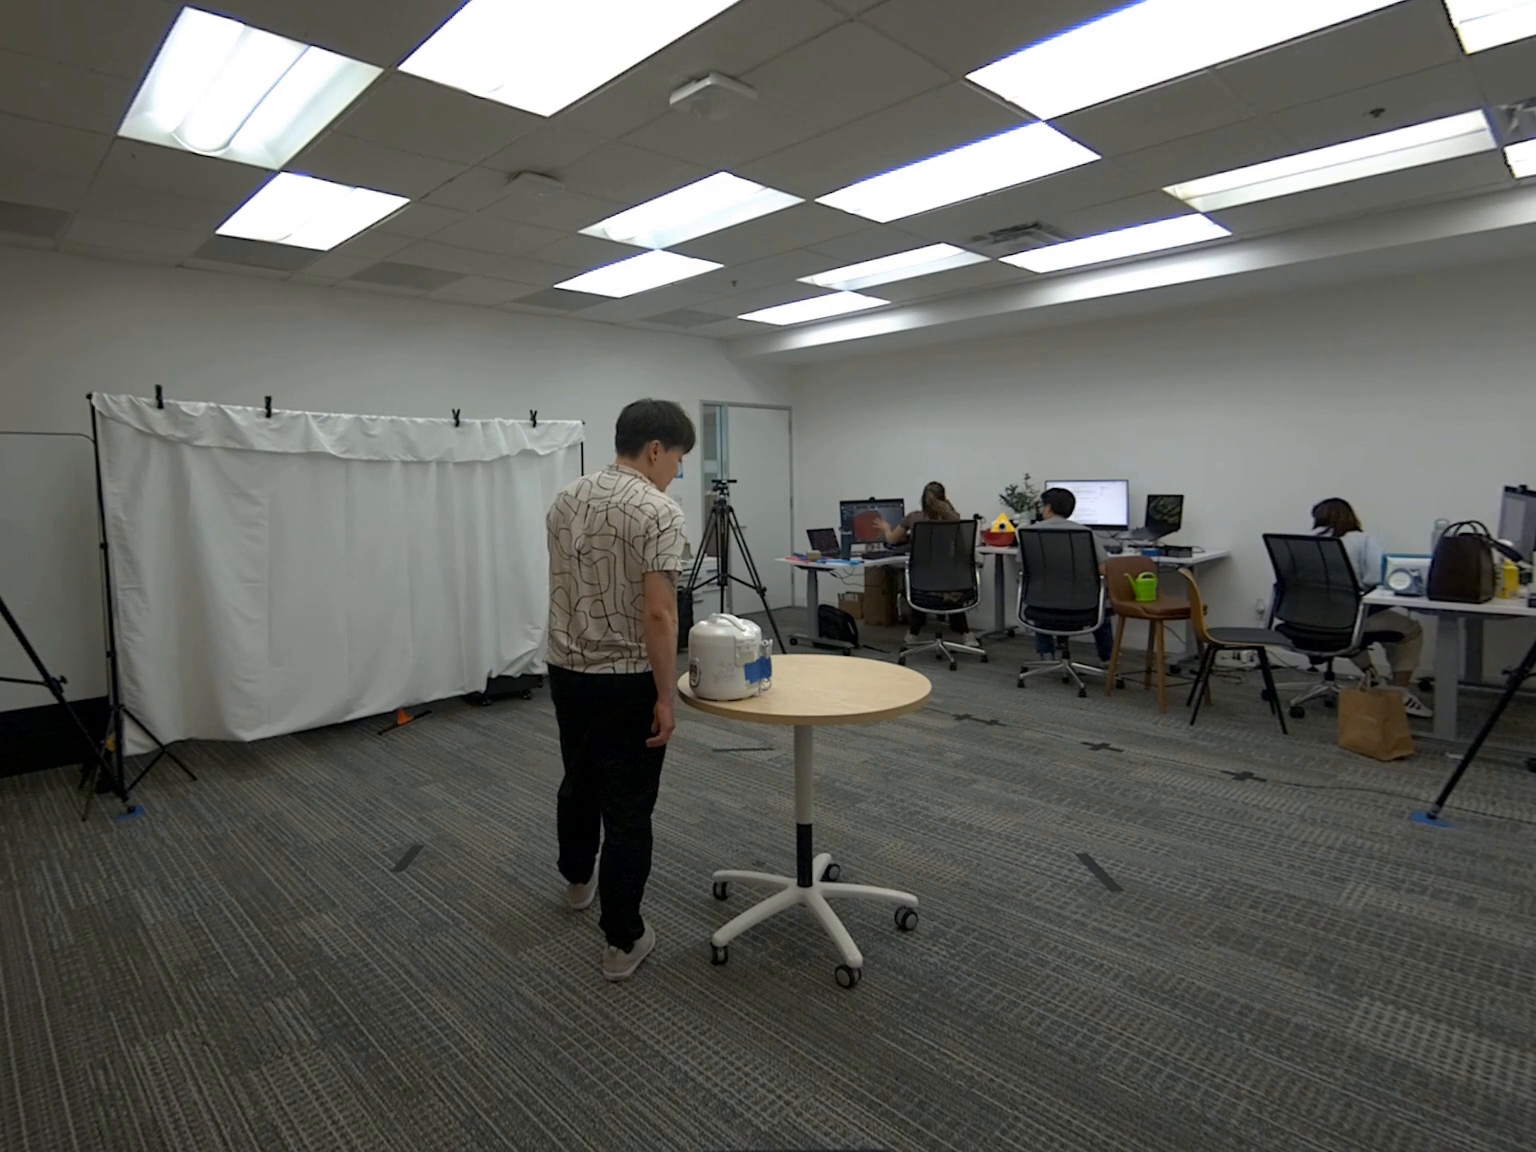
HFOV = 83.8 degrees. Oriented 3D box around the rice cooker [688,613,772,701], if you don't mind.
[{"bbox_3d":[-0.123,0.225,2.448,0.212,0.232,0.227,-3,5,-34],"label":"rice cooker"}]
